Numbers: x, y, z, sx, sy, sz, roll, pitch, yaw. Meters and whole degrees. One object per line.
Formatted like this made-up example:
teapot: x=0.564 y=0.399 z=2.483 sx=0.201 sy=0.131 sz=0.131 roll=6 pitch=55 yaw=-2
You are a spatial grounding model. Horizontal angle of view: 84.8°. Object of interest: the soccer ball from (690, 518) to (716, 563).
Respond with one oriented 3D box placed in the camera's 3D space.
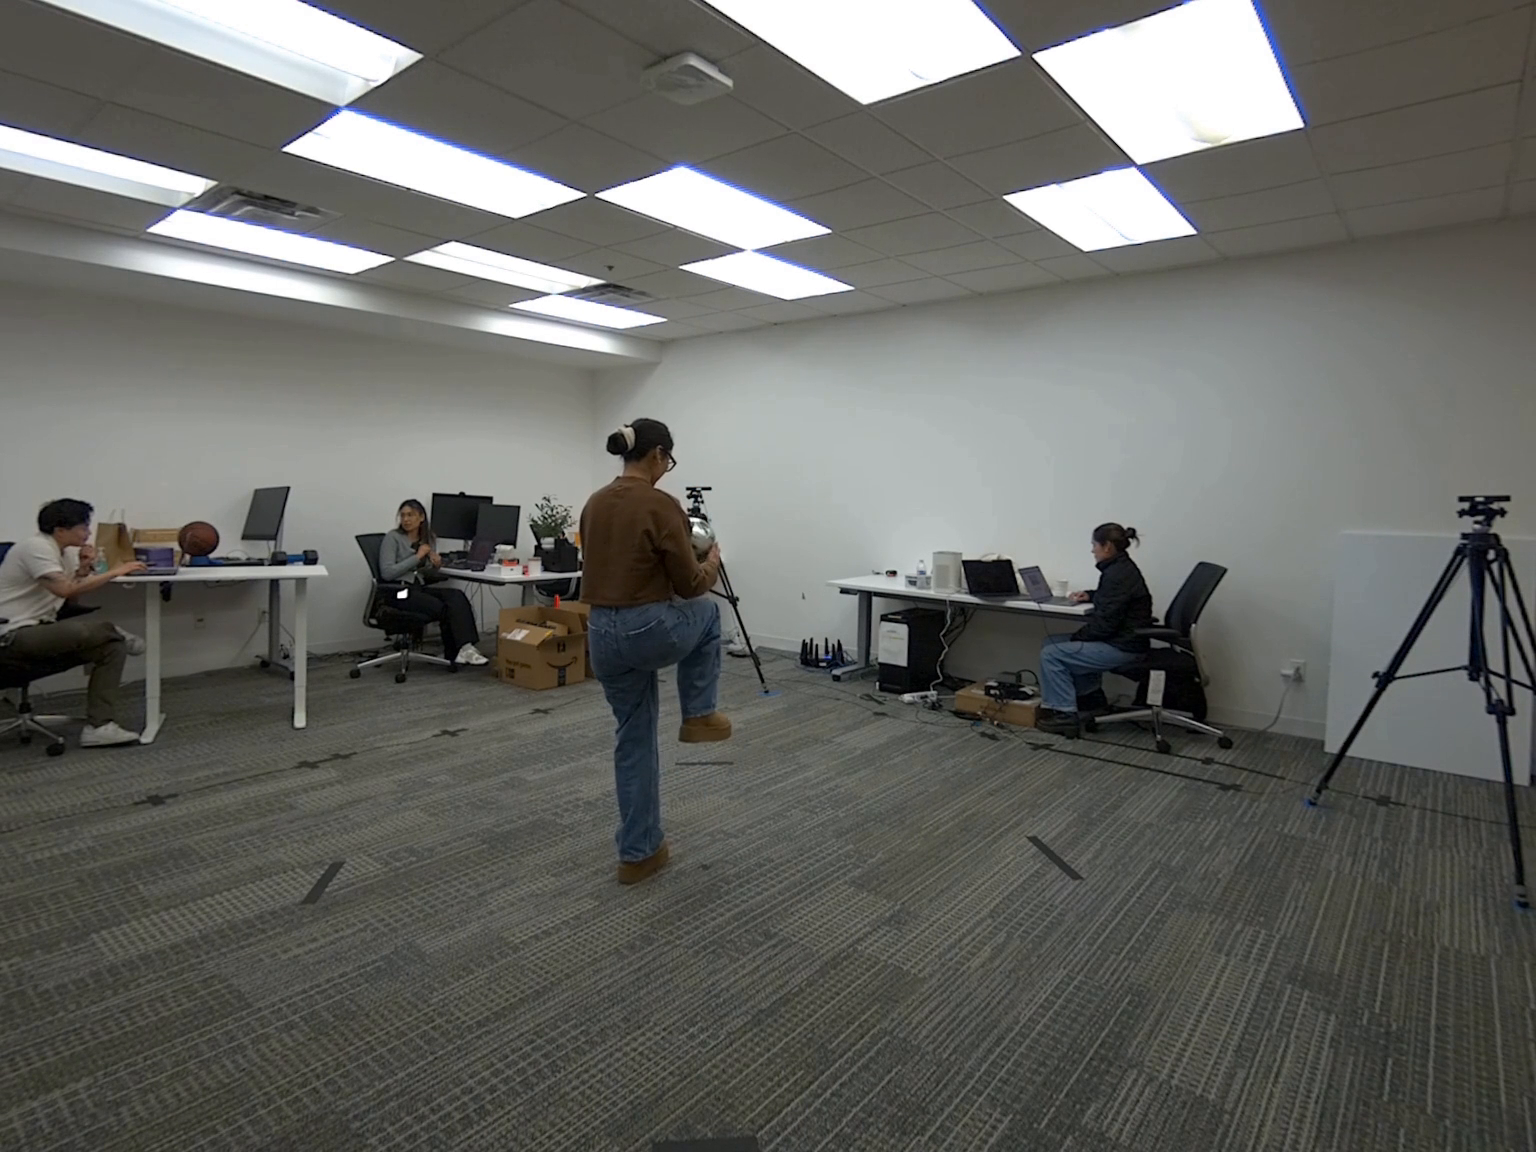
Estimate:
soccer ball: x=-0.301 y=-0.111 z=3.264 sx=0.187 sy=0.187 sz=0.188 roll=1 pitch=4 yaw=-2
